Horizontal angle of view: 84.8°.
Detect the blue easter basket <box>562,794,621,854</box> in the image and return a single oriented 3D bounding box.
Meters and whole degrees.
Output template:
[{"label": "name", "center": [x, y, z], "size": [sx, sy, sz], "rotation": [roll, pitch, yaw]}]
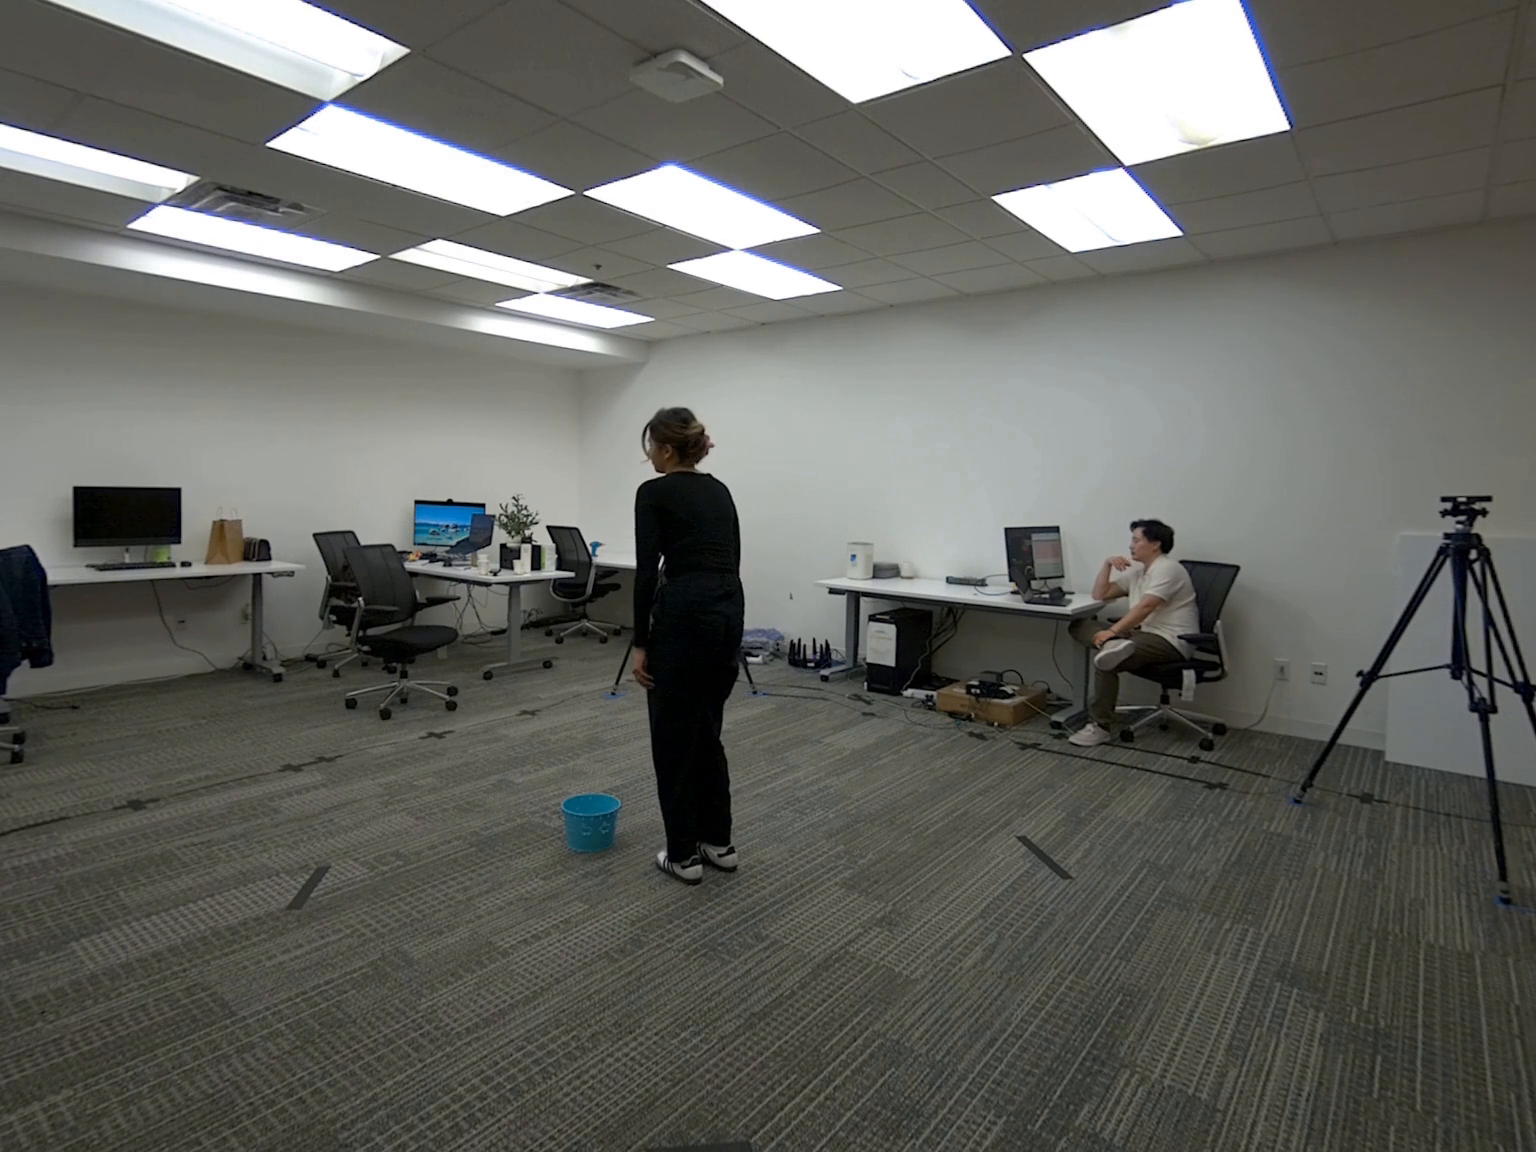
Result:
[{"label": "blue easter basket", "center": [-0.701, 0.962, 3.327], "size": [0.243, 0.155, 0.245], "rotation": [1, 5, -2]}]
